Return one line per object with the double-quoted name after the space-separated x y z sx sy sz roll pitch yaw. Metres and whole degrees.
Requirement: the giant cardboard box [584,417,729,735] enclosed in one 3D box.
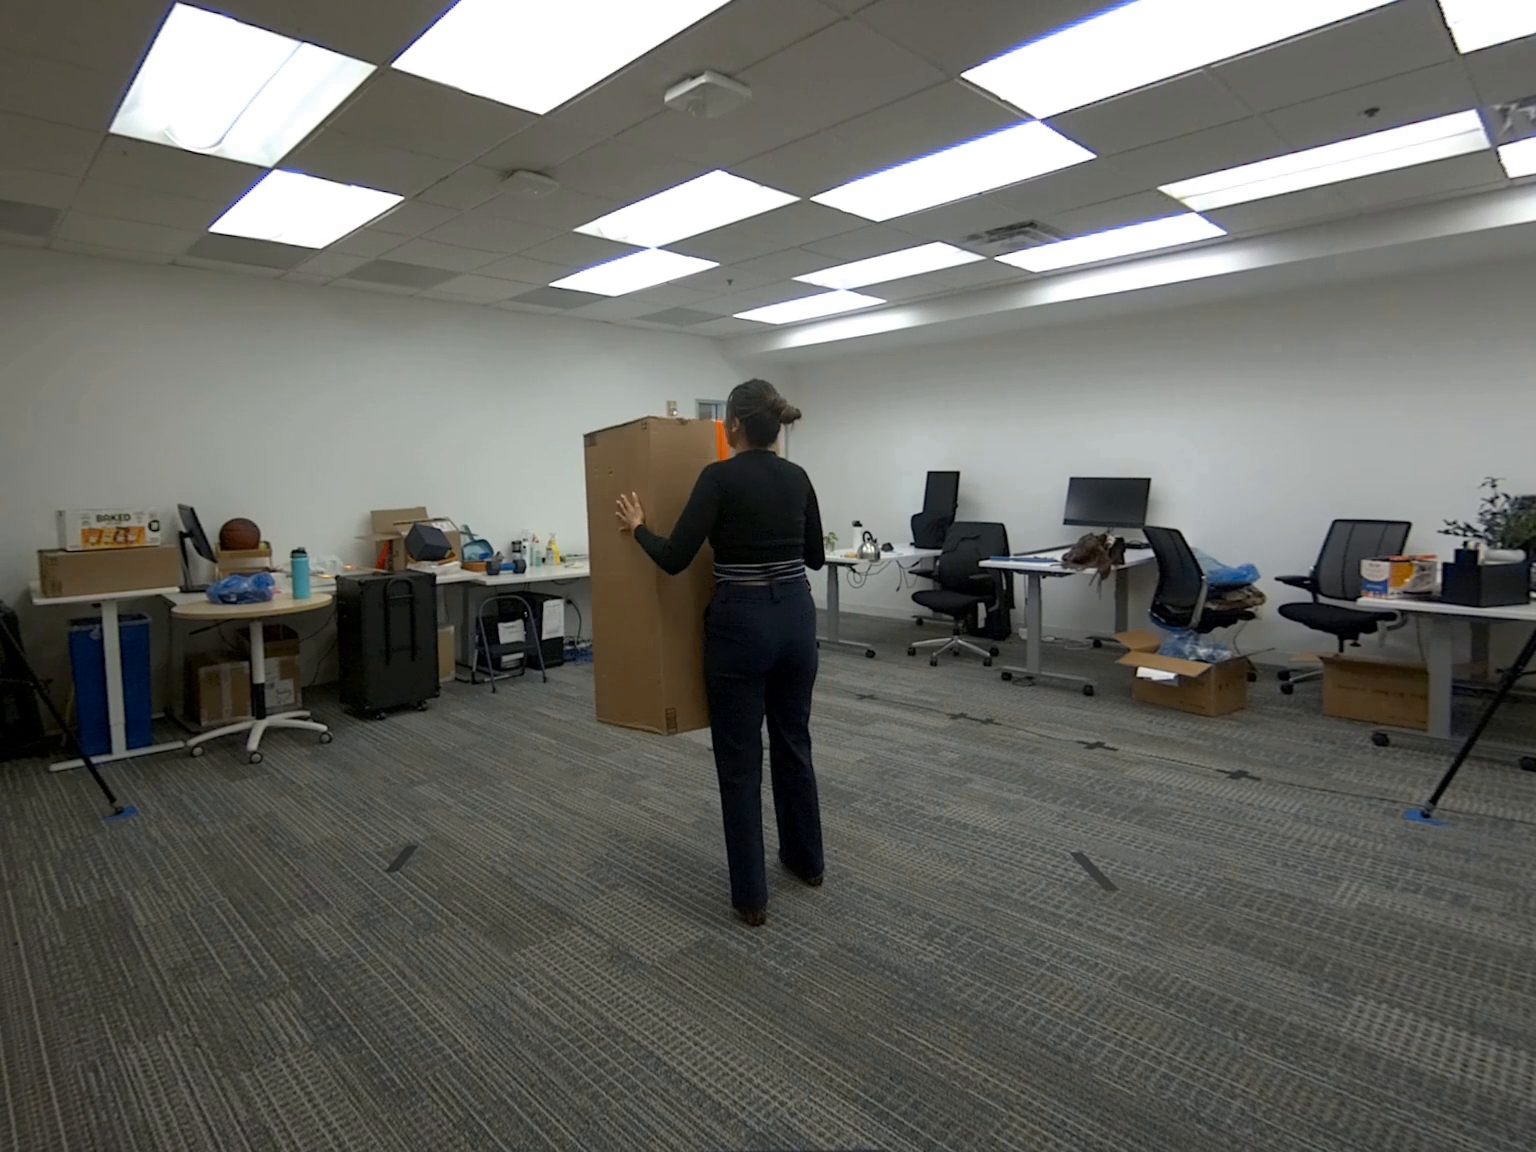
-0.281 -0.012 3.055 0.561 1.028 0.437 -2 -2 -41 "giant cardboard box"
